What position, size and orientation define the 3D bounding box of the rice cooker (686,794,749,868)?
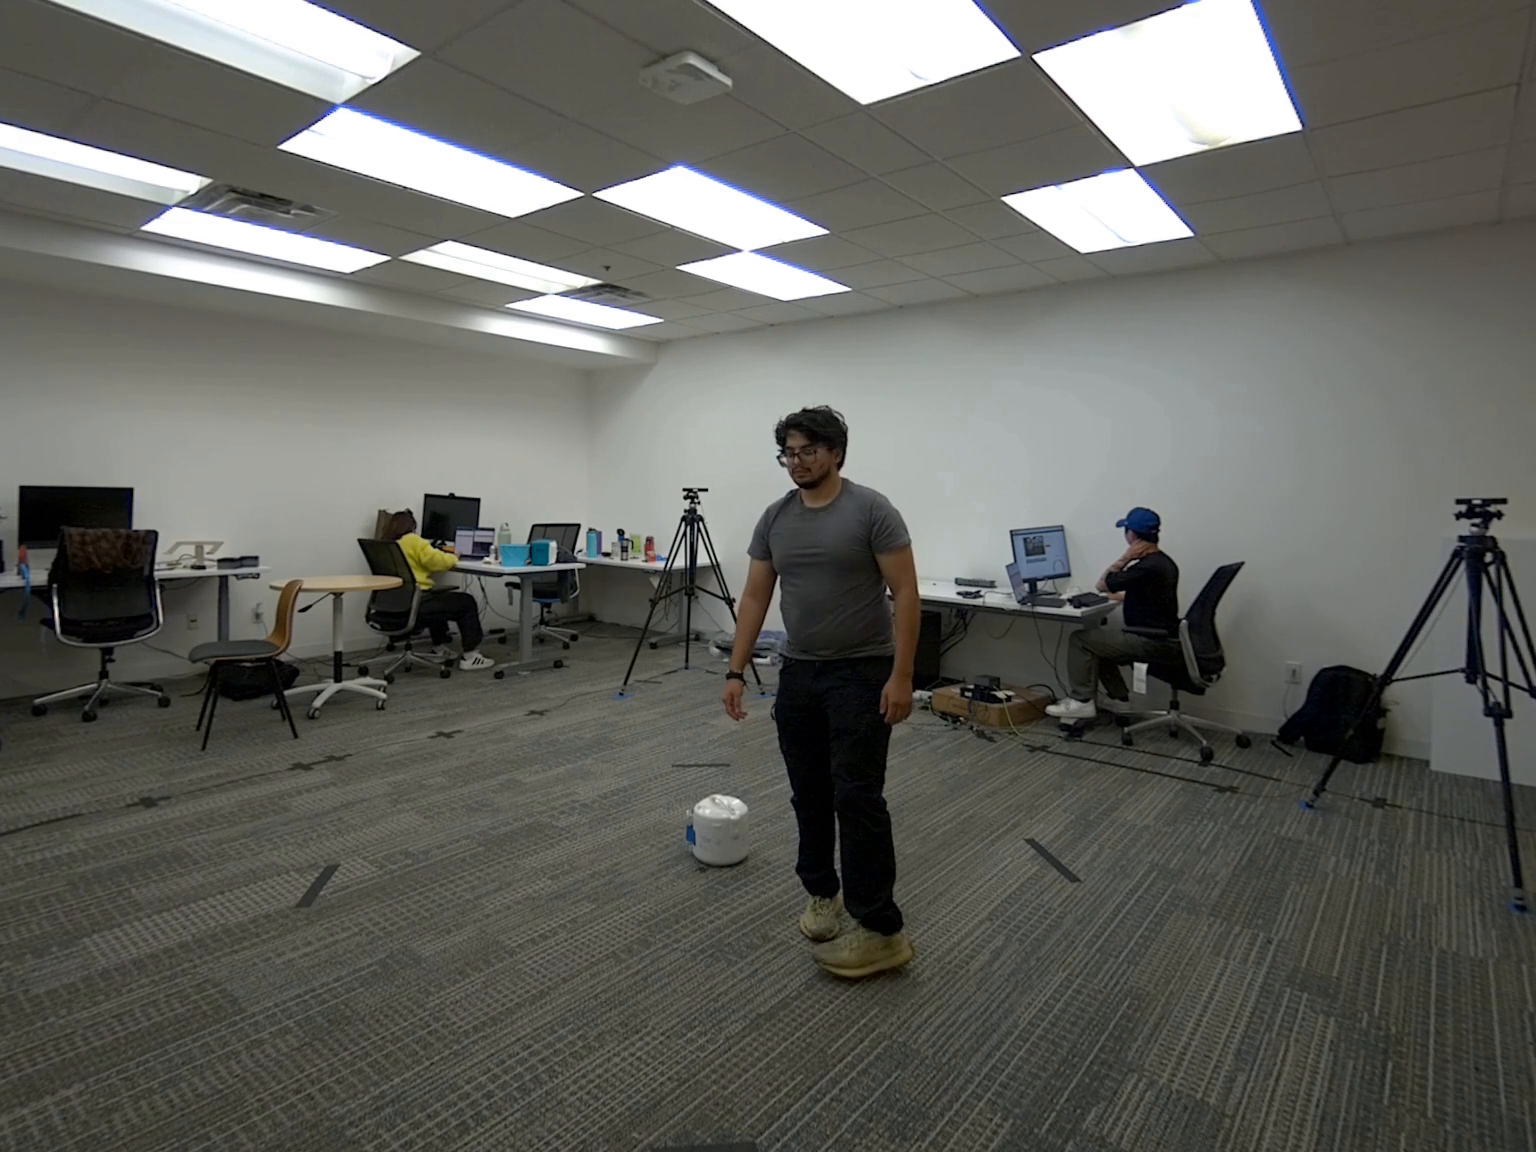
[{"bbox_3d":[-0.187,0.942,3.210,0.211,0.232,0.227,-2,5,-32],"label":"rice cooker"}]
